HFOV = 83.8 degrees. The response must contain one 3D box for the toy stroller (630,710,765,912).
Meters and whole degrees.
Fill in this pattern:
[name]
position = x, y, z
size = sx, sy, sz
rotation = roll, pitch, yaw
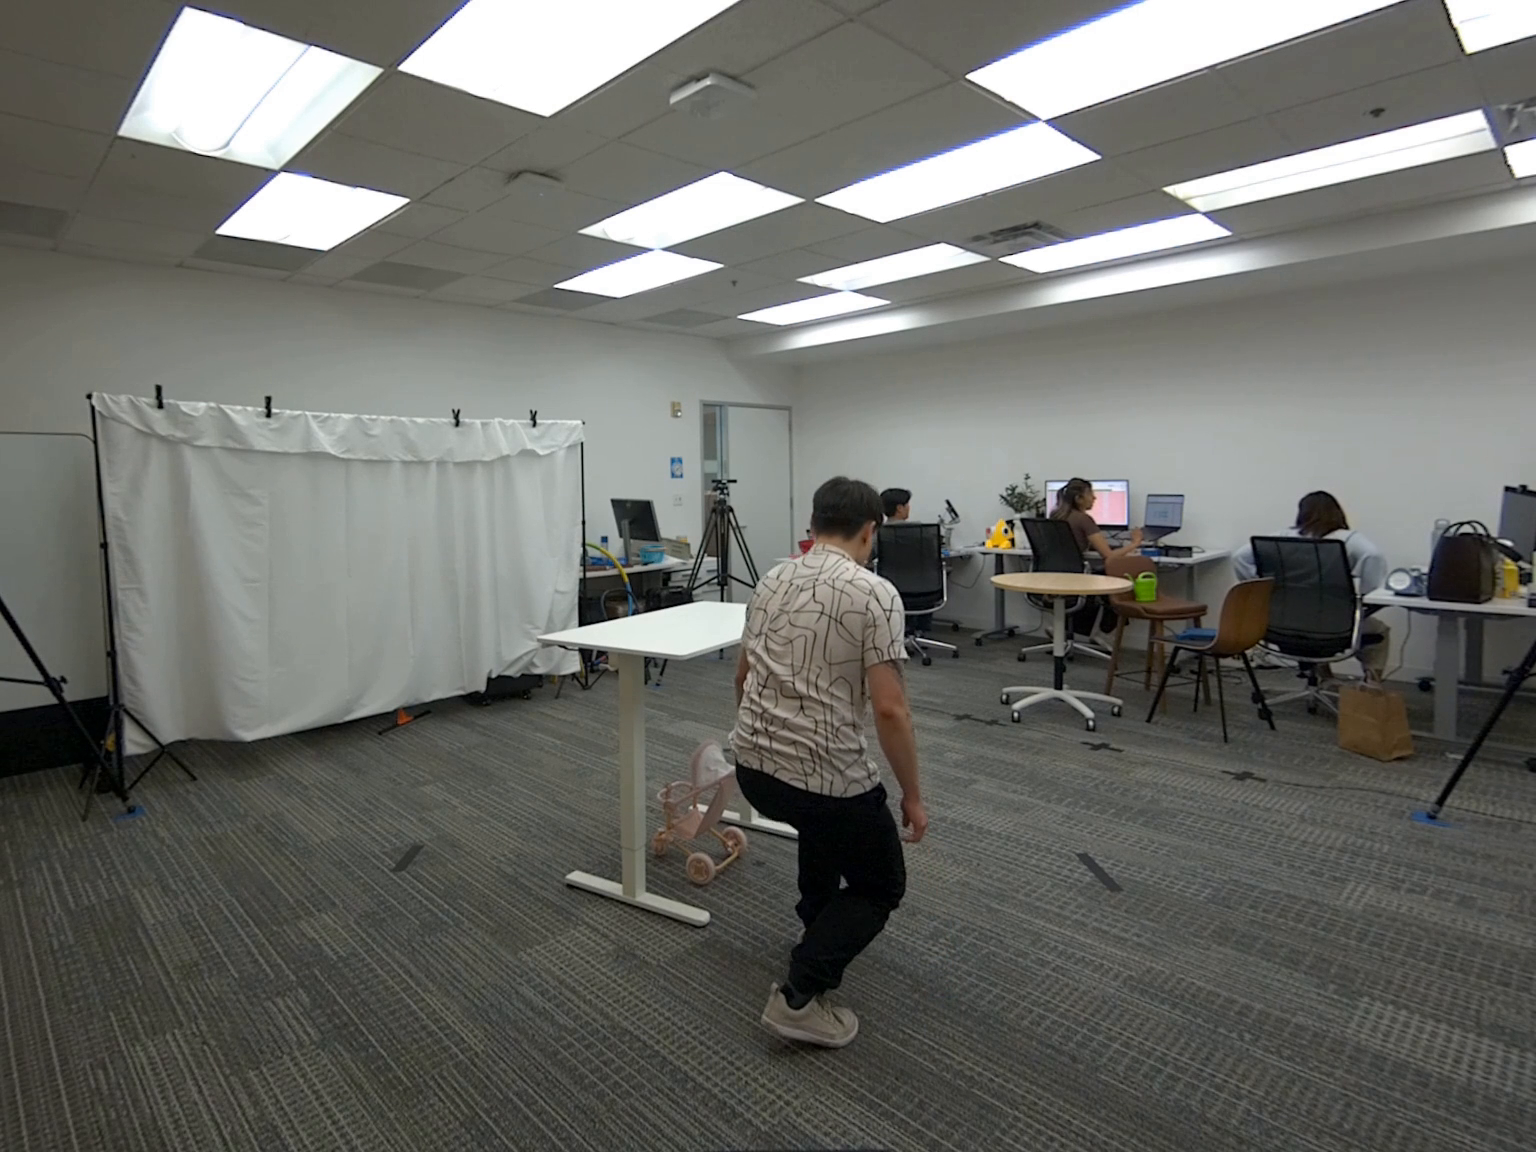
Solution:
[toy stroller]
position = -0.227, 0.826, 3.086
size = 0.352, 0.530, 0.275
rotation = 21, 15, 30
